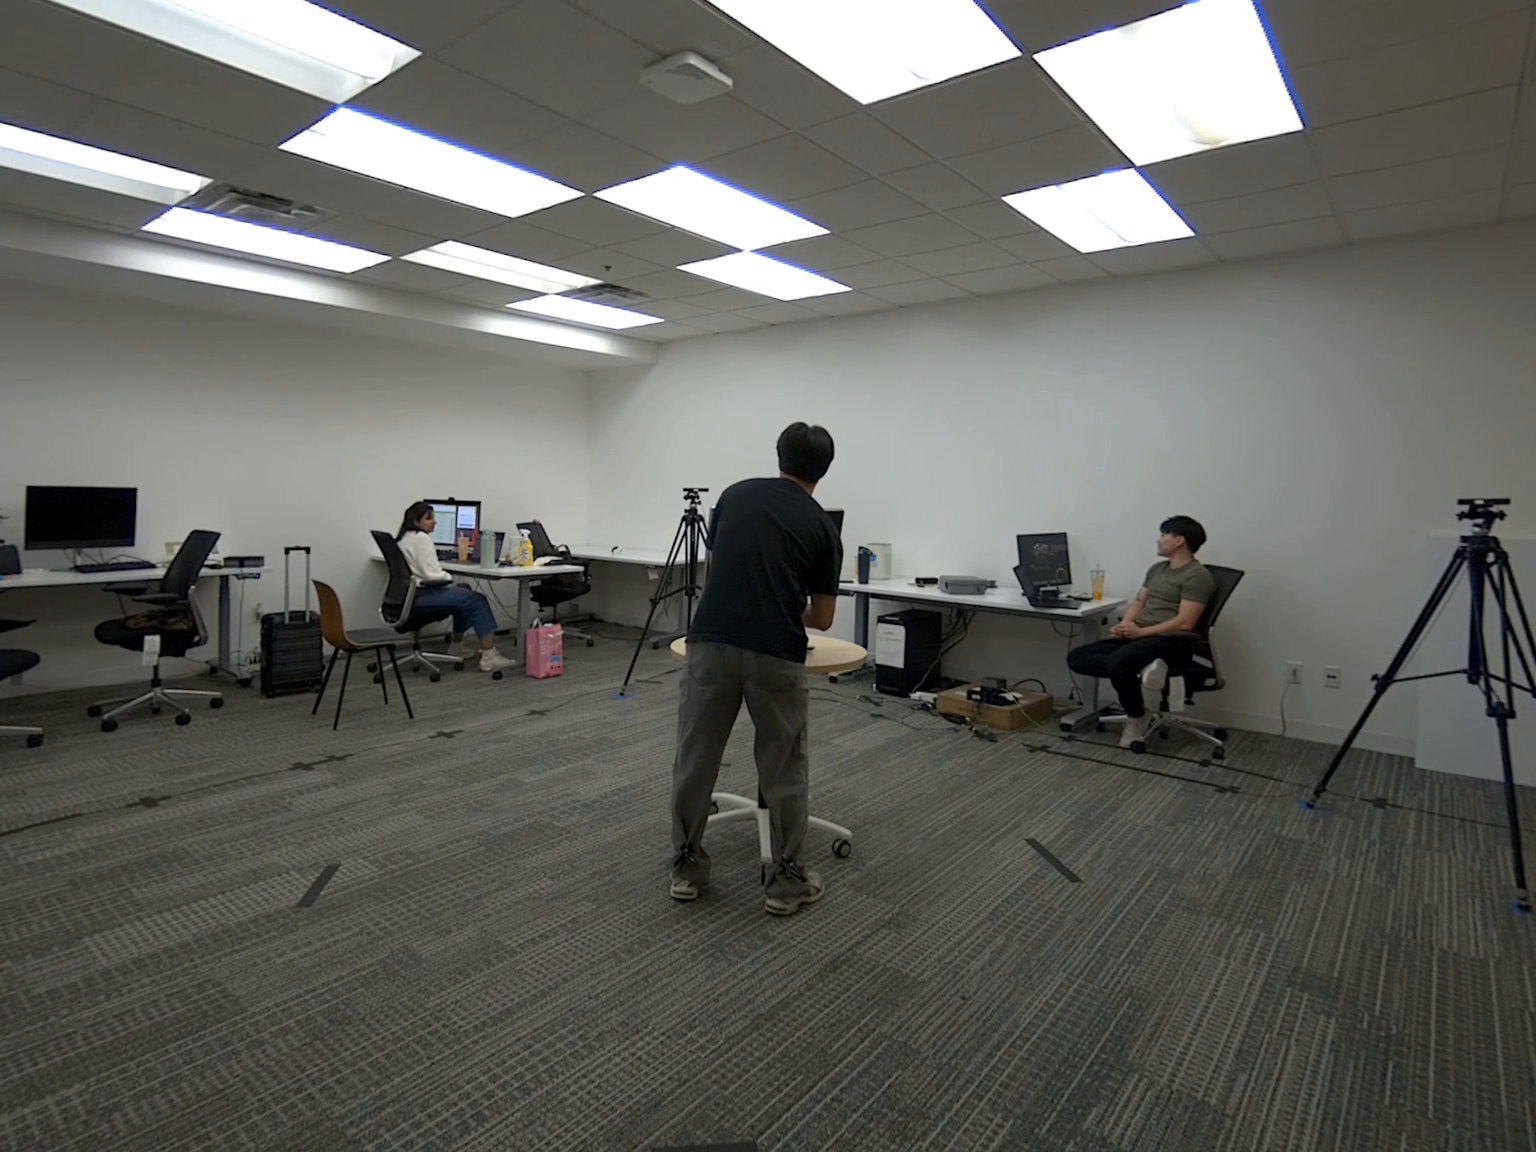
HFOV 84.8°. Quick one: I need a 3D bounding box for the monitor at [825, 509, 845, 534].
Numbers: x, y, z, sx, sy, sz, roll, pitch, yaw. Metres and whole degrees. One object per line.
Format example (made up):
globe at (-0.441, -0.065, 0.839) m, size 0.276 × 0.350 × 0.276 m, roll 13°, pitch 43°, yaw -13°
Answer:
monitor at (0.025, 0.012, 3.301) m, size 0.552 × 0.566 × 0.226 m, roll 1°, pitch 0°, yaw -17°
